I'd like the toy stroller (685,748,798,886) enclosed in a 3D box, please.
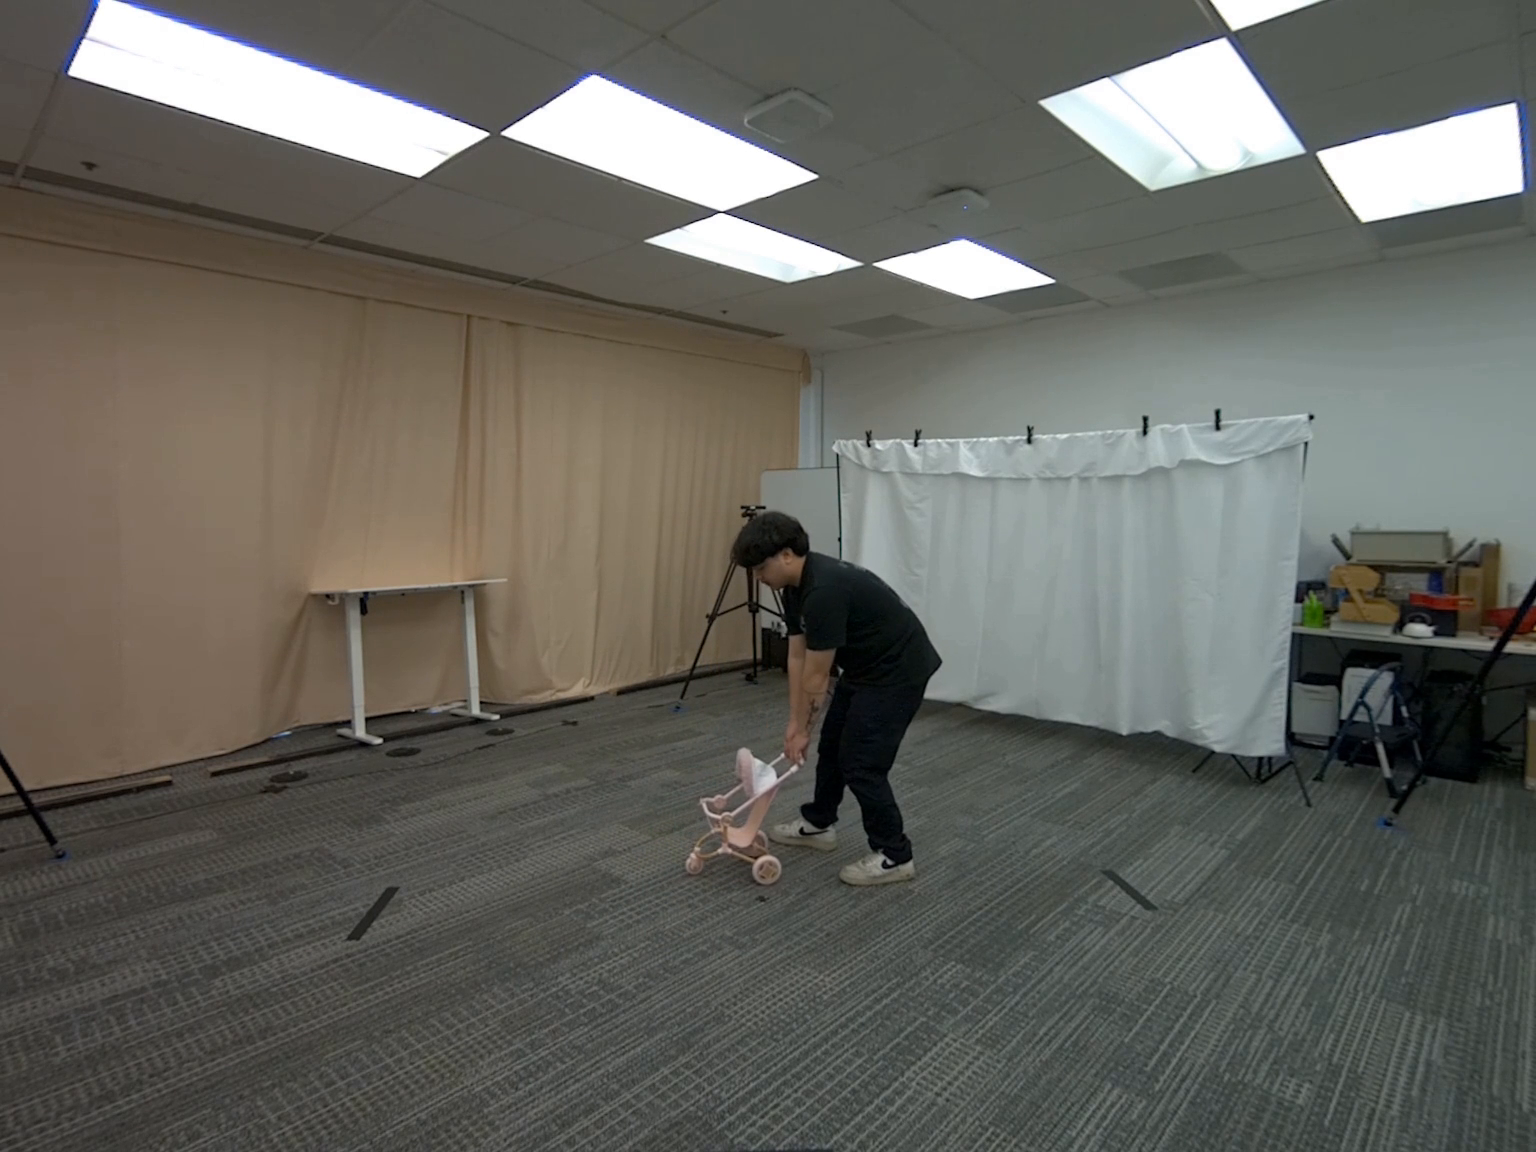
[{"bbox_3d":[-0.098,0.901,3.200,0.339,0.534,0.283,14,2,-5],"label":"toy stroller"}]
